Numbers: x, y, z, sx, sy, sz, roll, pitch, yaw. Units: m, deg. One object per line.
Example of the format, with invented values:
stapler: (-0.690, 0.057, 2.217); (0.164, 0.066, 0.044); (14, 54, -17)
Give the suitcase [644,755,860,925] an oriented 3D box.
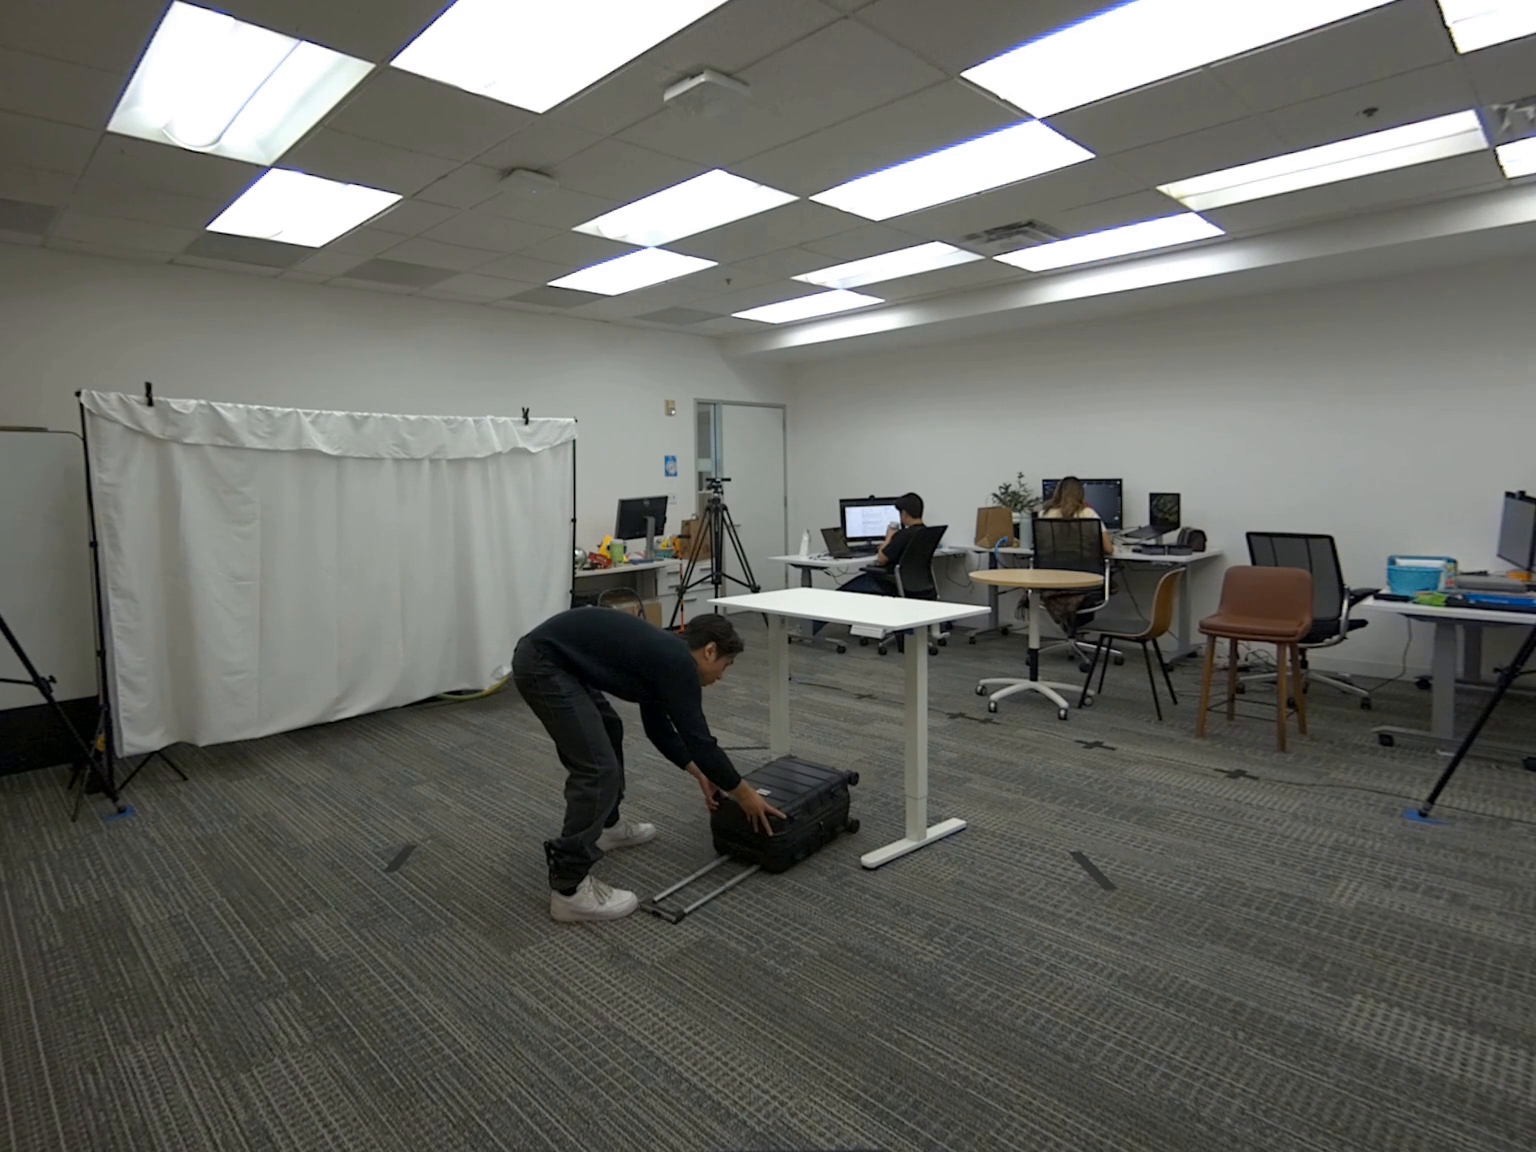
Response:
suitcase: (-0.059, 0.920, 3.104); (0.396, 0.255, 0.954); (6, 10, 38)
